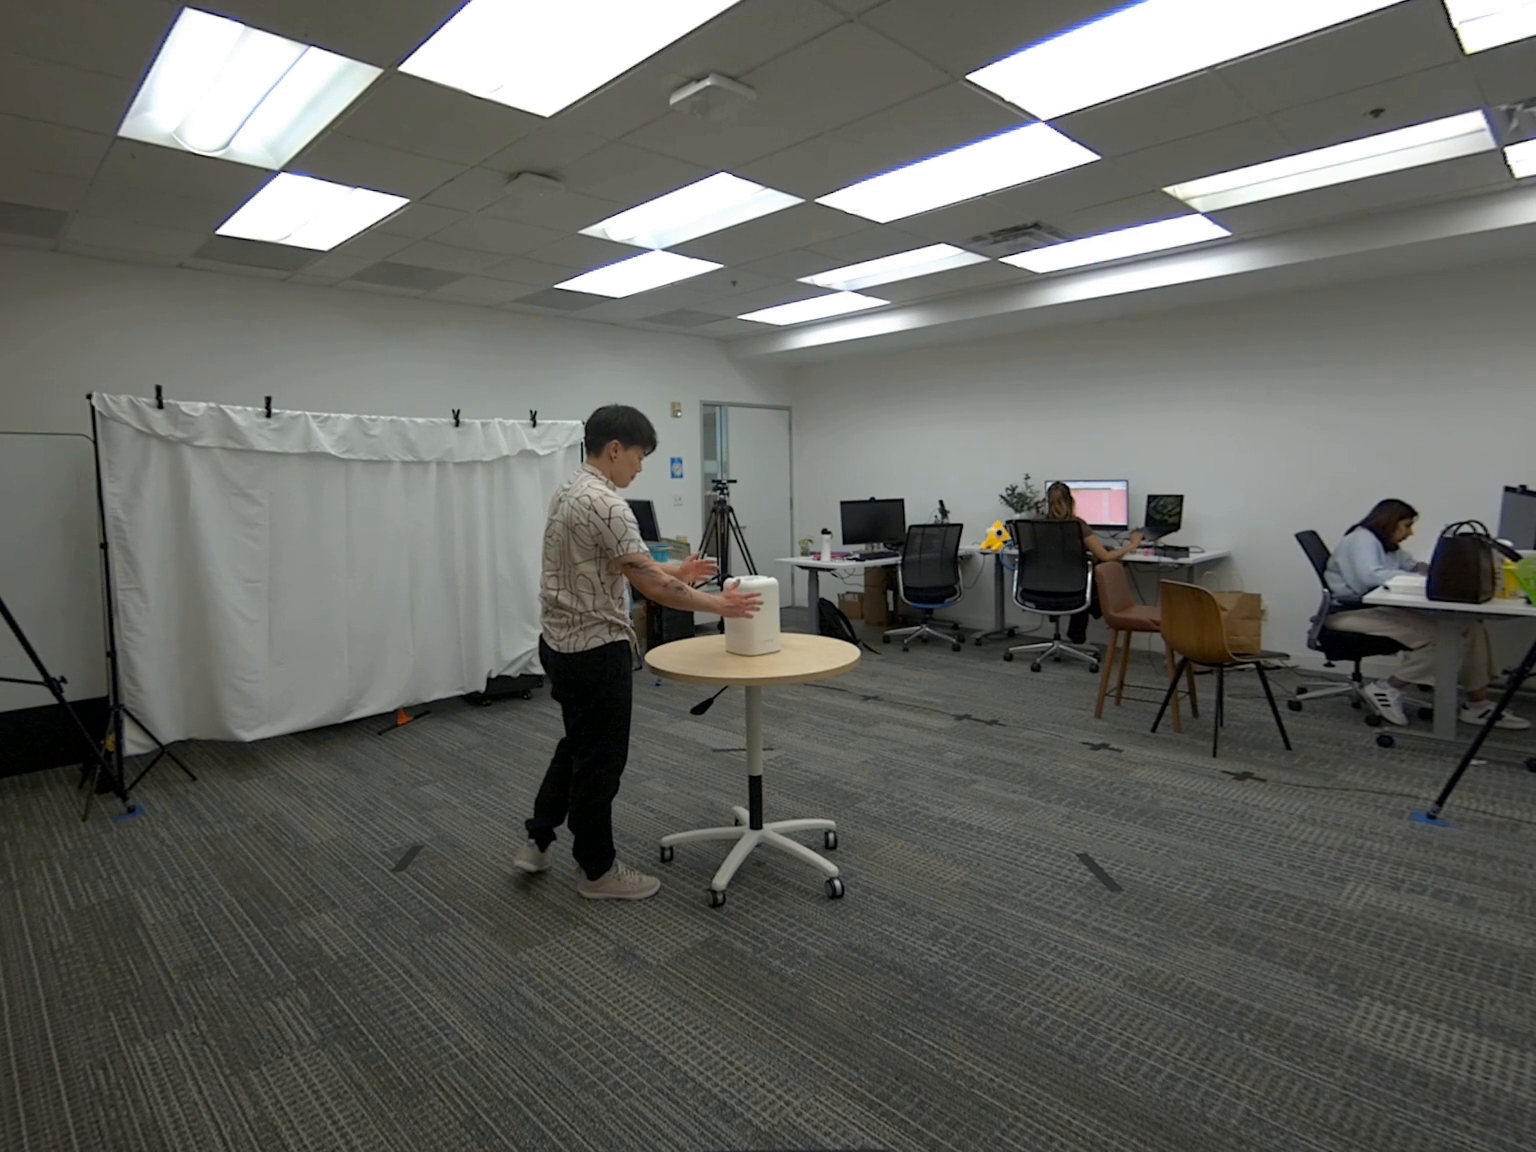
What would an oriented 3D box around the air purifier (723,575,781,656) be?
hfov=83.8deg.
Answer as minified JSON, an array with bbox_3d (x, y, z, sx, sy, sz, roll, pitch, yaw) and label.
[{"bbox_3d":[-0.056,0.135,3.071,0.167,0.264,0.177,-5,6,-38],"label":"air purifier"}]
